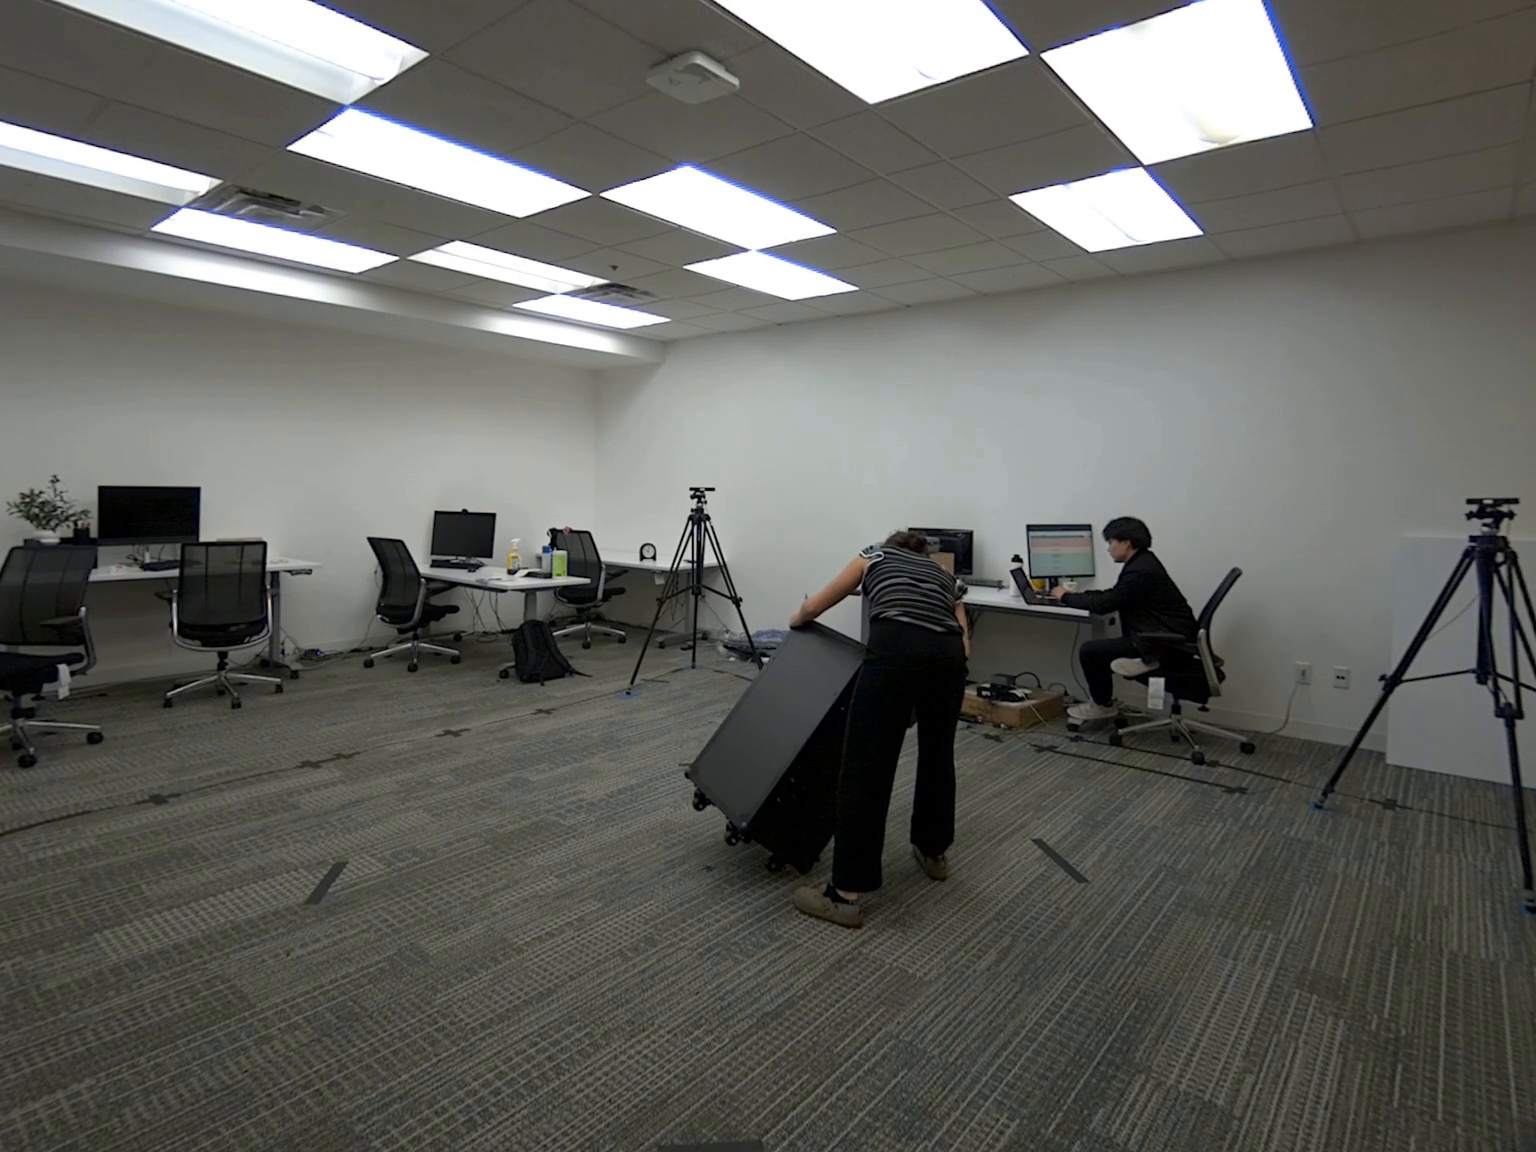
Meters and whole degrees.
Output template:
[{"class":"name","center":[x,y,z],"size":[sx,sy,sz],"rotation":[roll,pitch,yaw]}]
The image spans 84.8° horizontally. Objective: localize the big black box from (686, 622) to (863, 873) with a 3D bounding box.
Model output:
[{"class":"big black box","center":[0.105,0.644,3.241],"size":[0.382,0.862,0.540],"rotation":[43,-11,-30]}]
